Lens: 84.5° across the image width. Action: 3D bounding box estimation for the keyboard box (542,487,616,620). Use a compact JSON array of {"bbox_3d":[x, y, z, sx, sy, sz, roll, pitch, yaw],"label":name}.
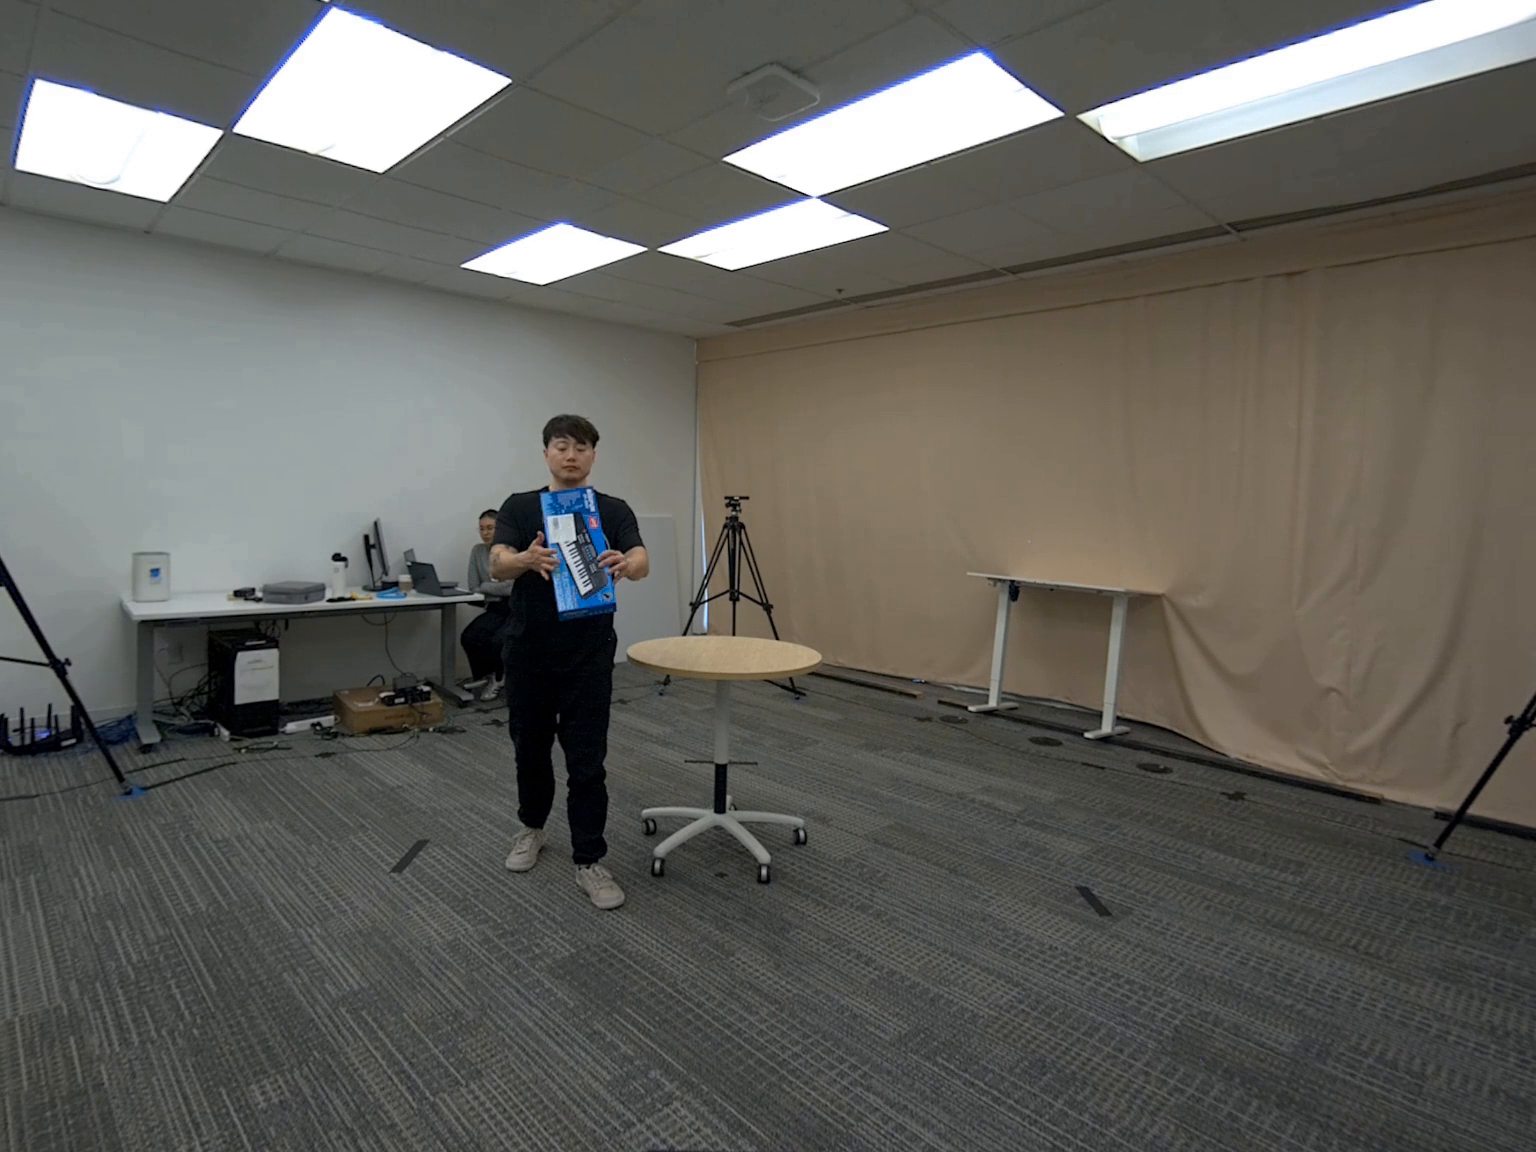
[{"bbox_3d":[-0.606,-0.076,2.599,0.175,0.447,0.058,-9,-31,-9],"label":"keyboard box"}]
